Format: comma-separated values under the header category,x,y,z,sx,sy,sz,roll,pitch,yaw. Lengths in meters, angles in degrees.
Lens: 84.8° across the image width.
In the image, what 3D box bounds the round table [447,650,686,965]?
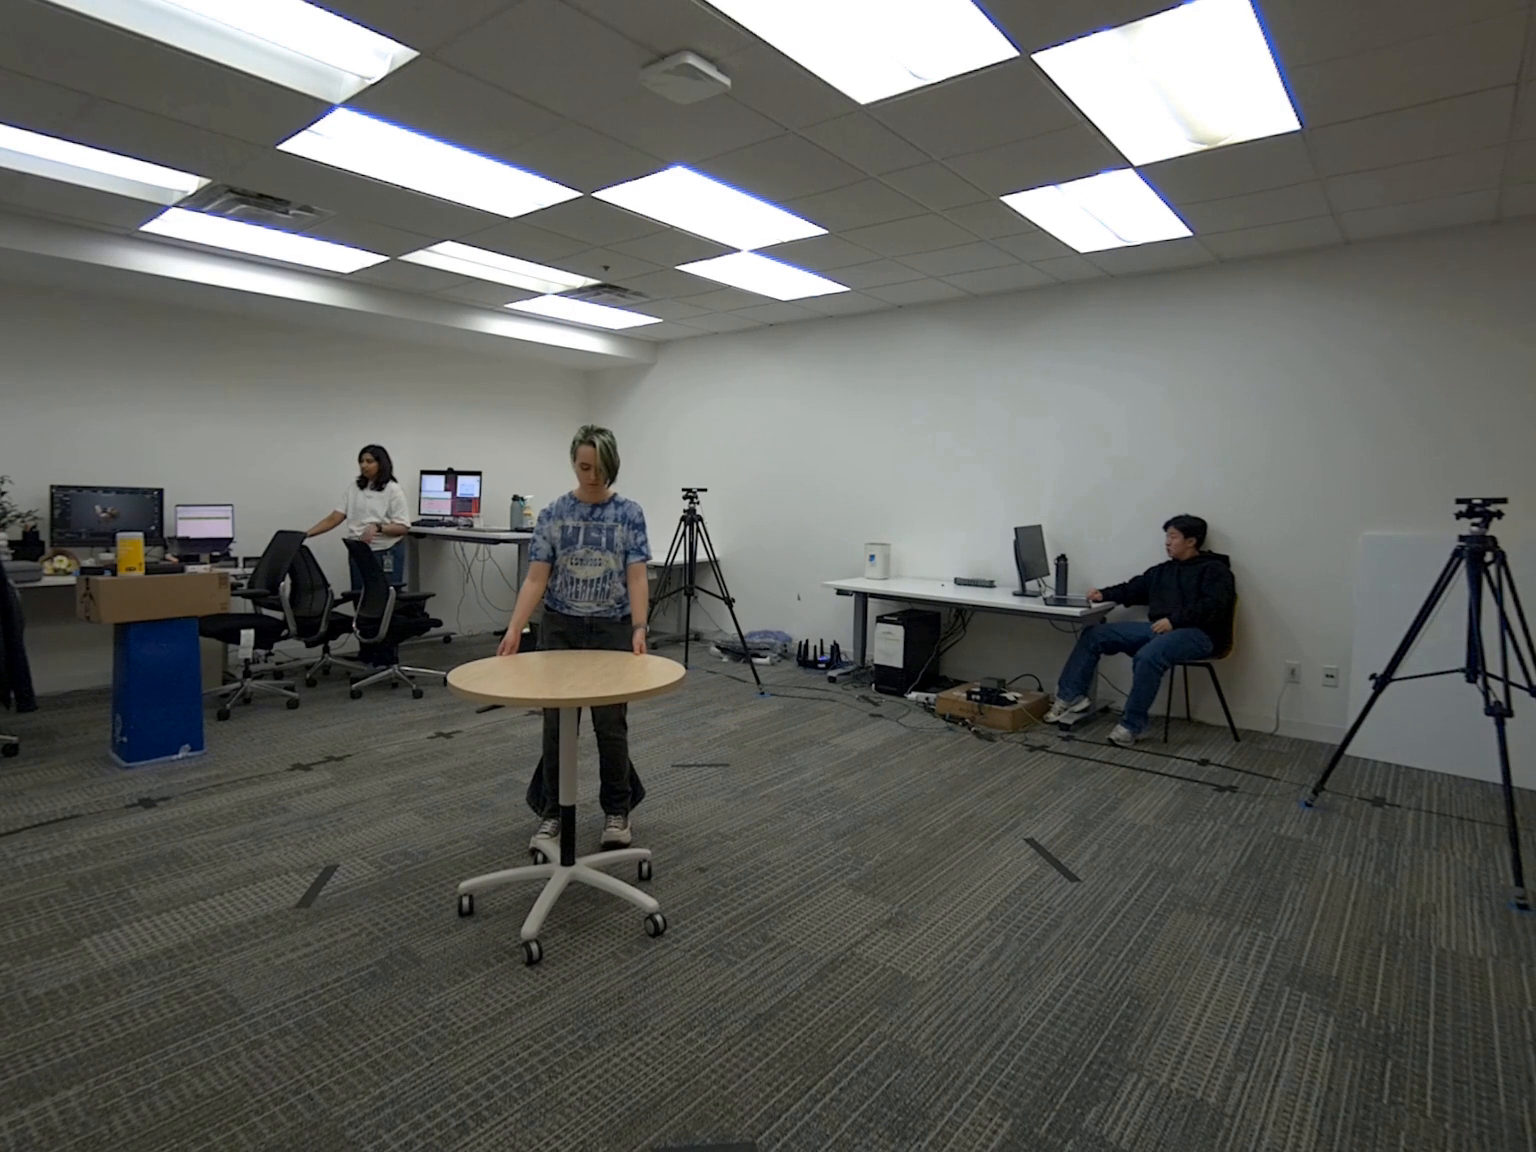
category,x,y,z,sx,sy,sz,roll,pitch,yaw
round table,-0.660,0.703,2.800,0.763,0.792,0.767,0,4,-2
